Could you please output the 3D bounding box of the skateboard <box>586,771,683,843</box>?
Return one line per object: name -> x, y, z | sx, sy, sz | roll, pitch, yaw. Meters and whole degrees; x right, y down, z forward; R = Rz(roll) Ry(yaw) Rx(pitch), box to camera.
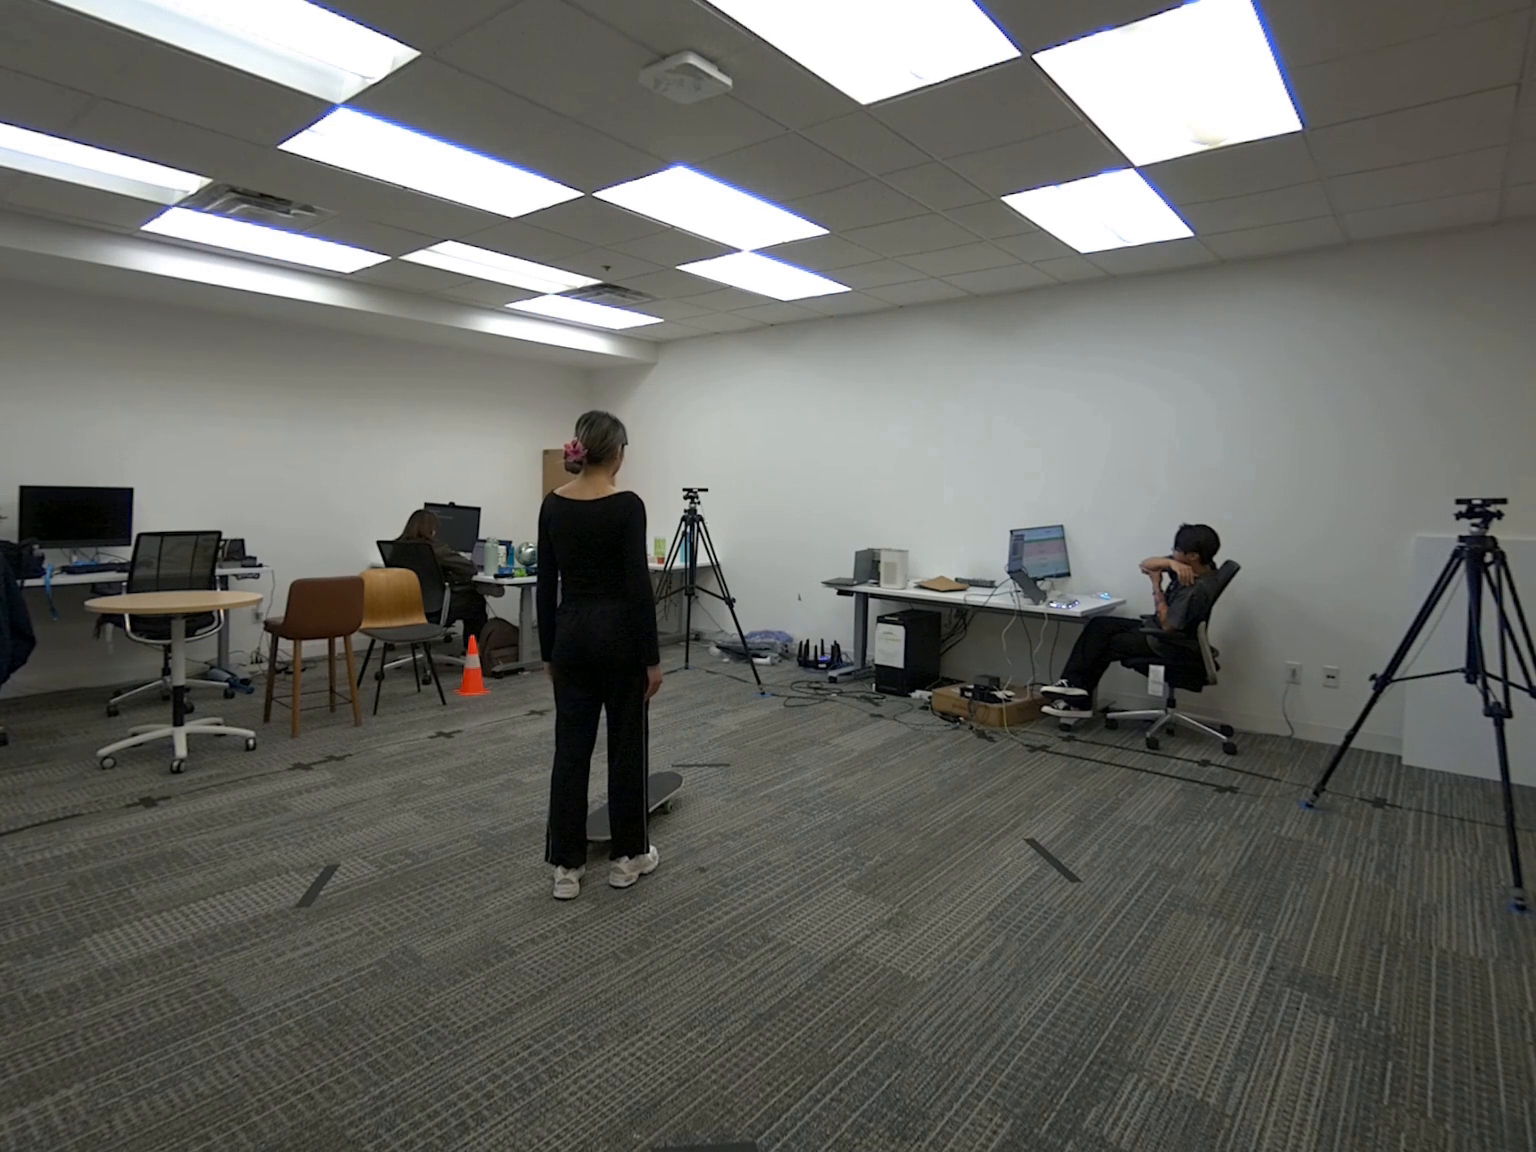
skateboard -> -0.578, 0.975, 3.493 | 0.198, 0.110, 0.772 | 2, 7, 20
